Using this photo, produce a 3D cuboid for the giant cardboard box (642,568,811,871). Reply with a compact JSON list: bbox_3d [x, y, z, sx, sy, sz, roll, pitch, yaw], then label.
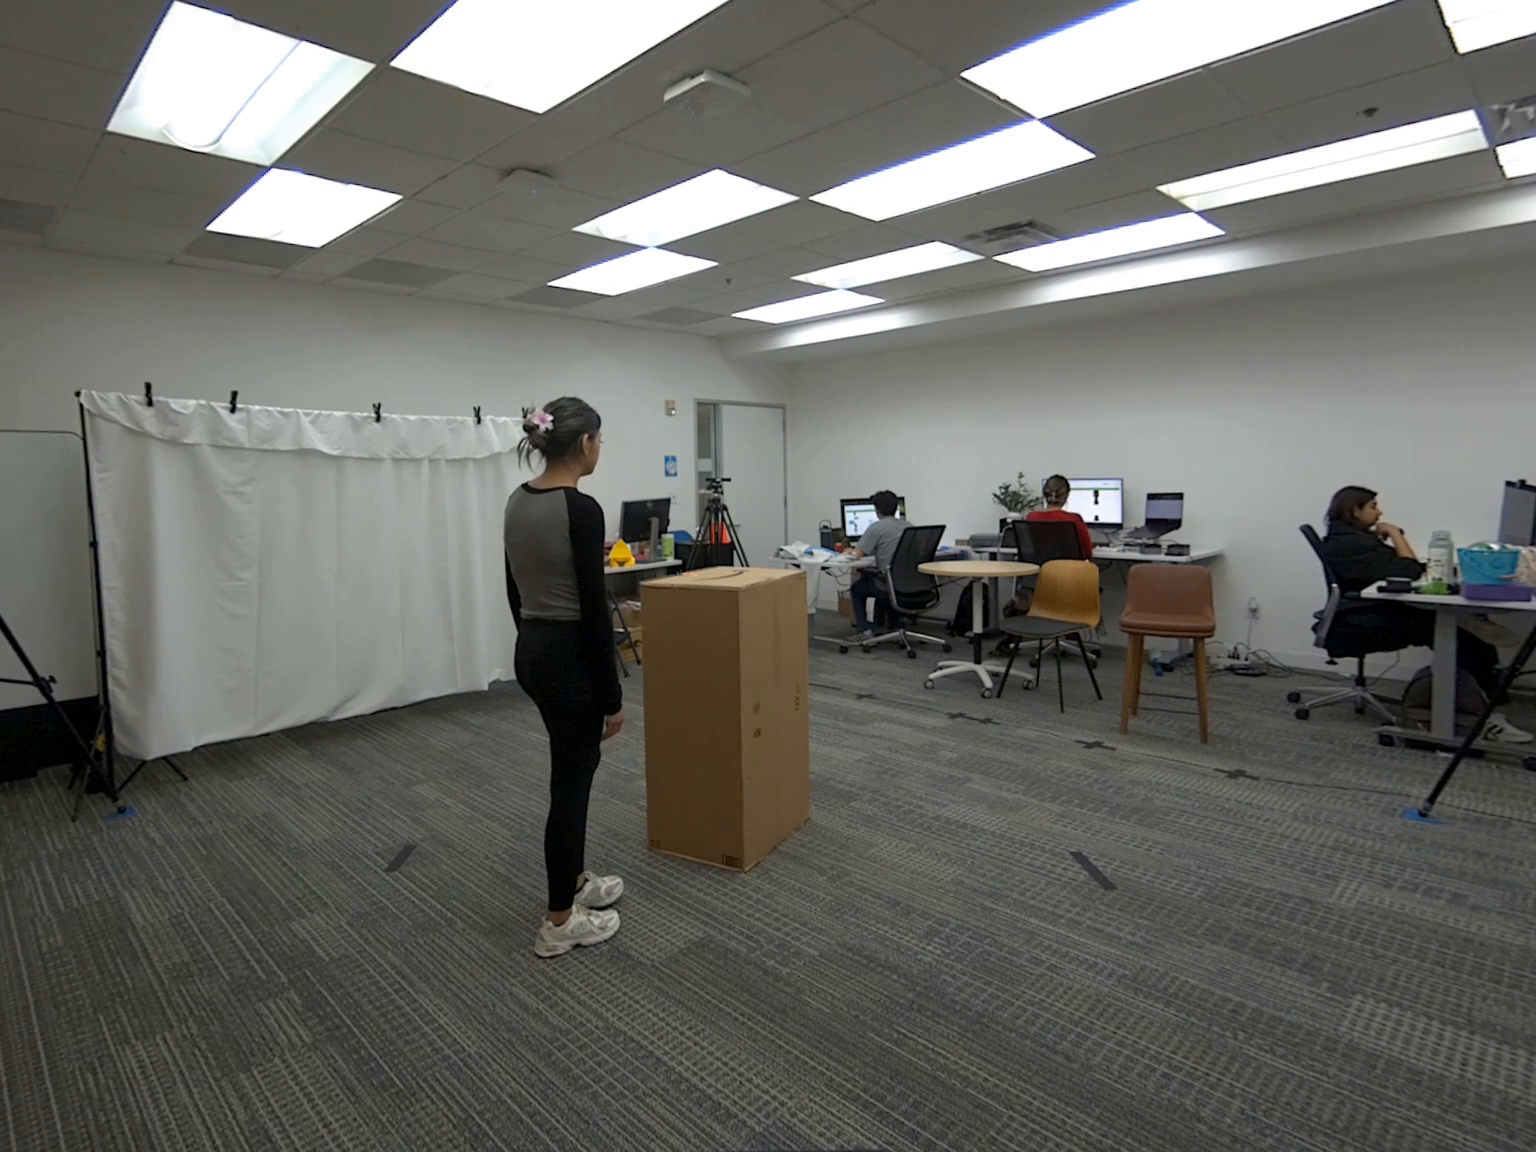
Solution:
[{"bbox_3d":[-0.152,0.510,3.339,0.458,1.023,0.572,2,5,28],"label":"giant cardboard box"}]
